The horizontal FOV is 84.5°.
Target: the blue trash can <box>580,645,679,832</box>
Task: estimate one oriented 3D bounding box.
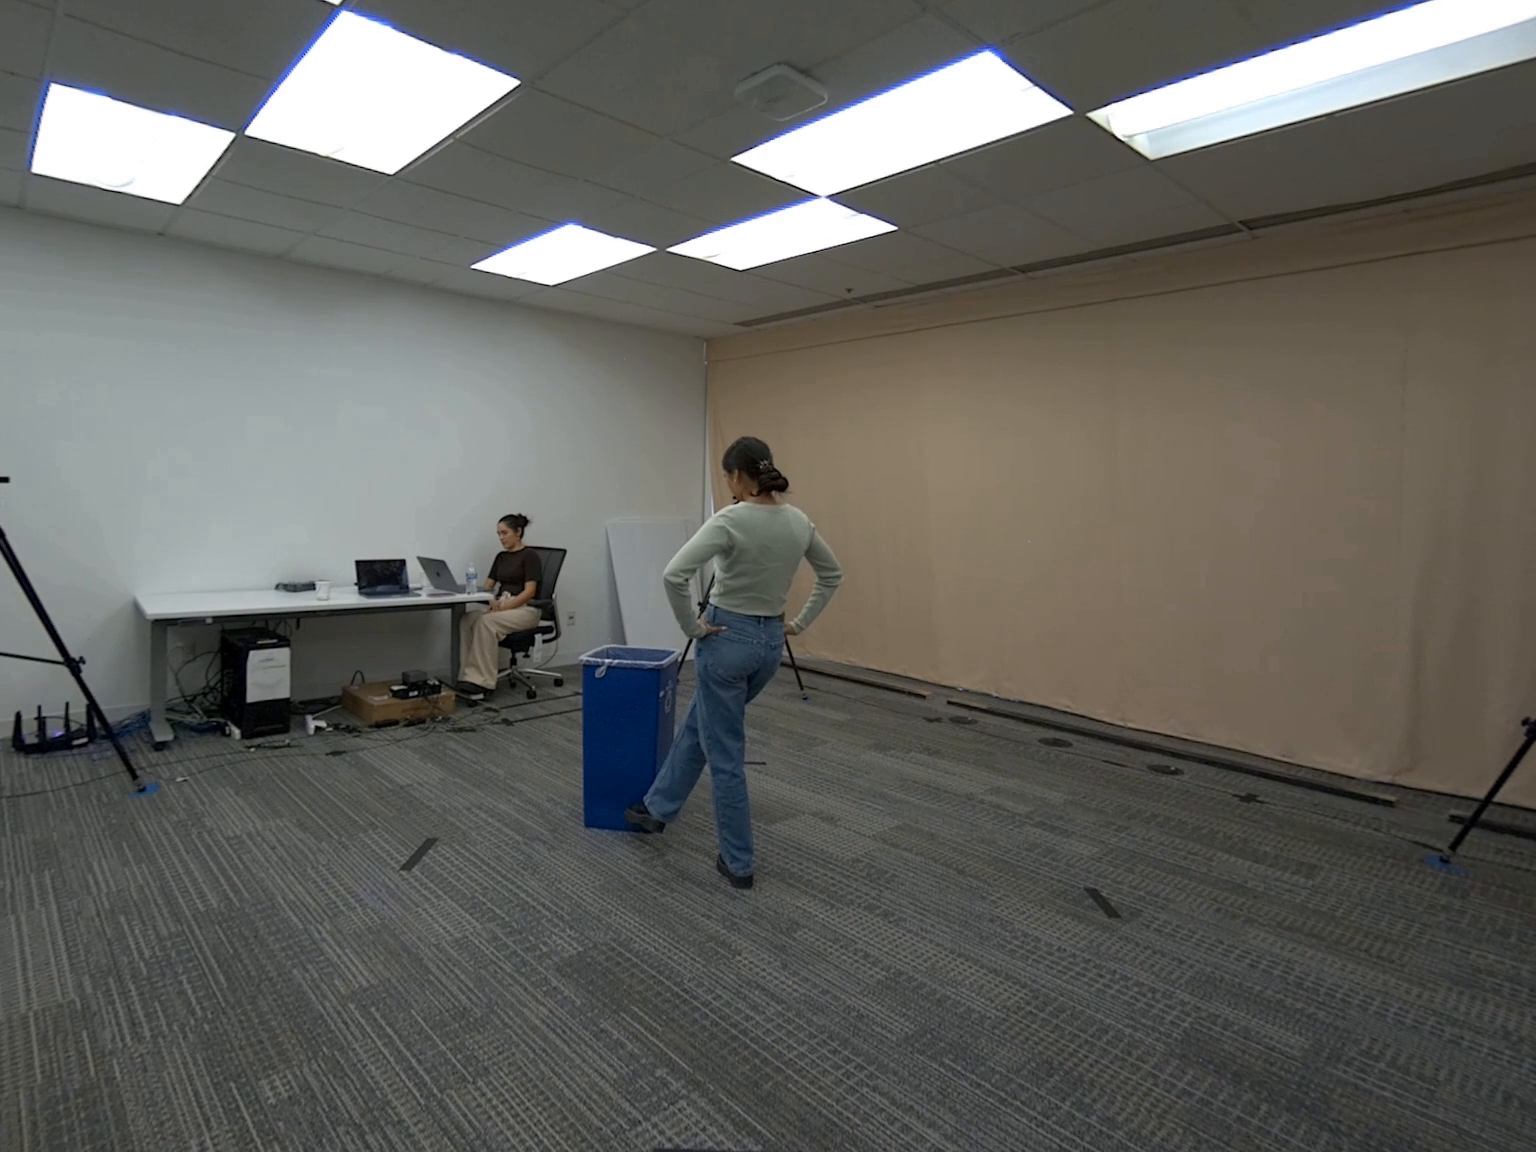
[{"bbox_3d":[-0.599,0.688,3.627,0.377,0.712,0.376,2,3,9],"label":"blue trash can"}]
